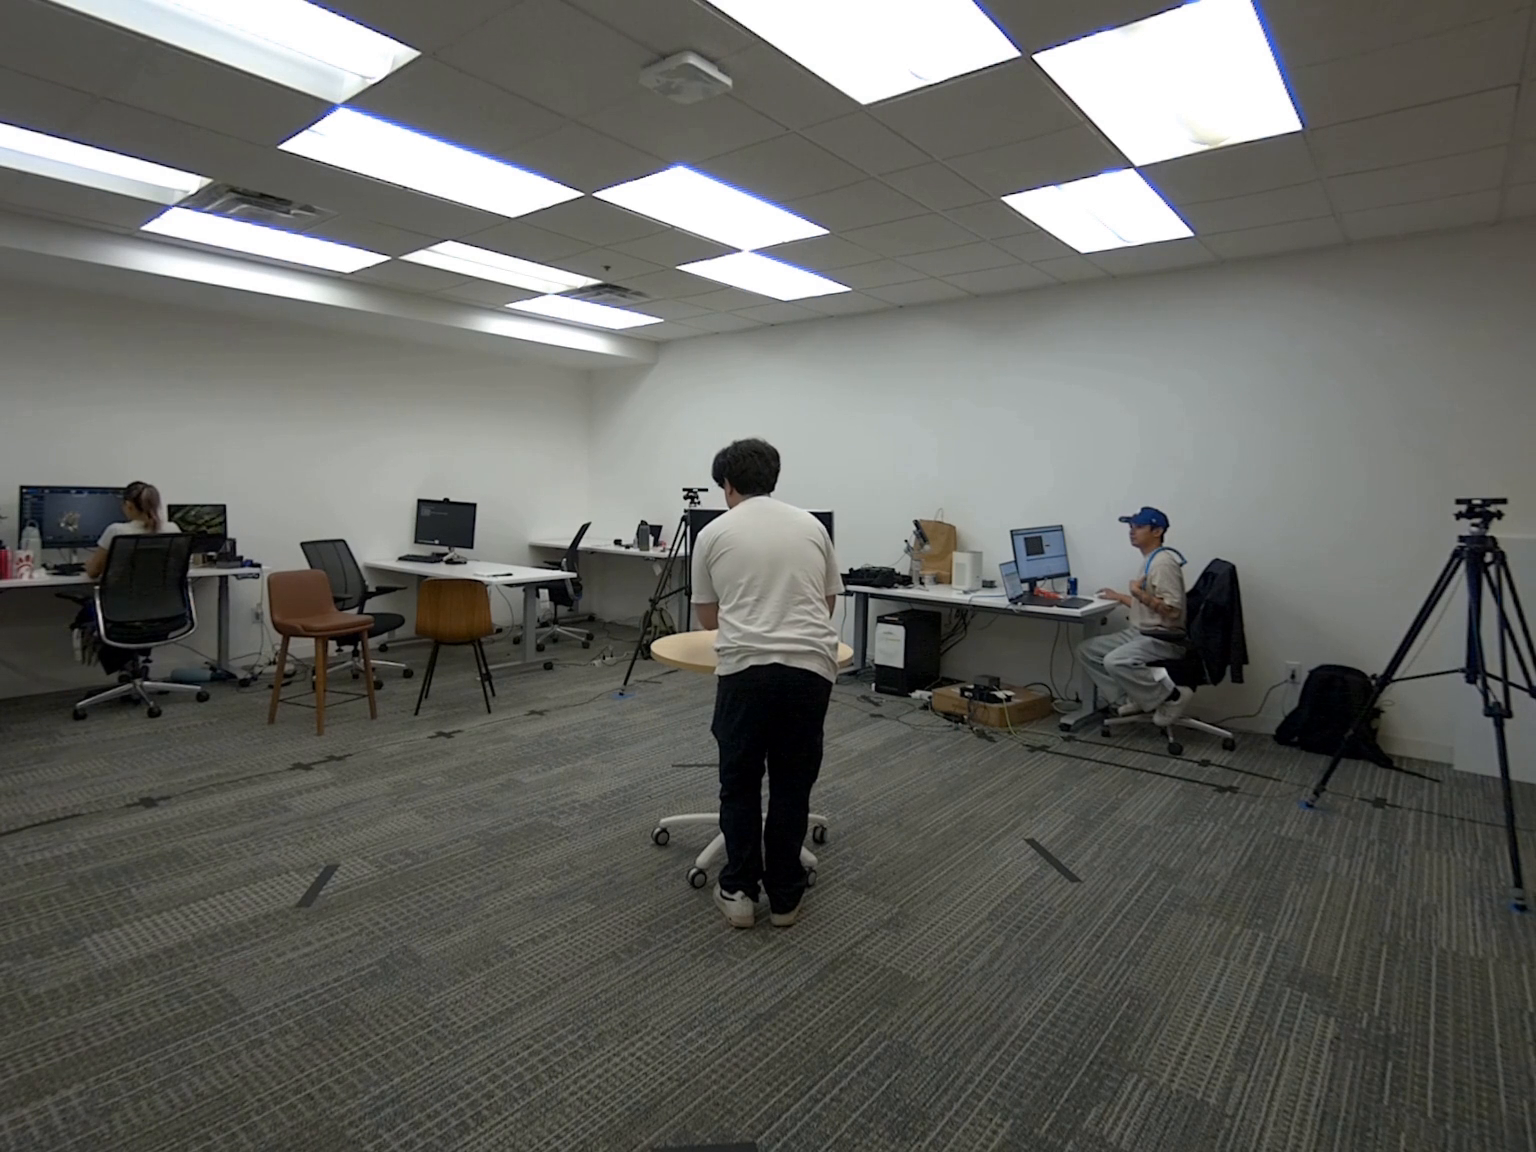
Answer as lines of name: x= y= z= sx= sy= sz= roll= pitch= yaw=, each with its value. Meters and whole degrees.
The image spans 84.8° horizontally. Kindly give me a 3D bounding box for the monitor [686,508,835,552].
monitor: x=-0.055 y=0.020 z=3.164 sx=0.576 sy=0.550 sz=0.208 roll=3 pitch=8 yaw=17
